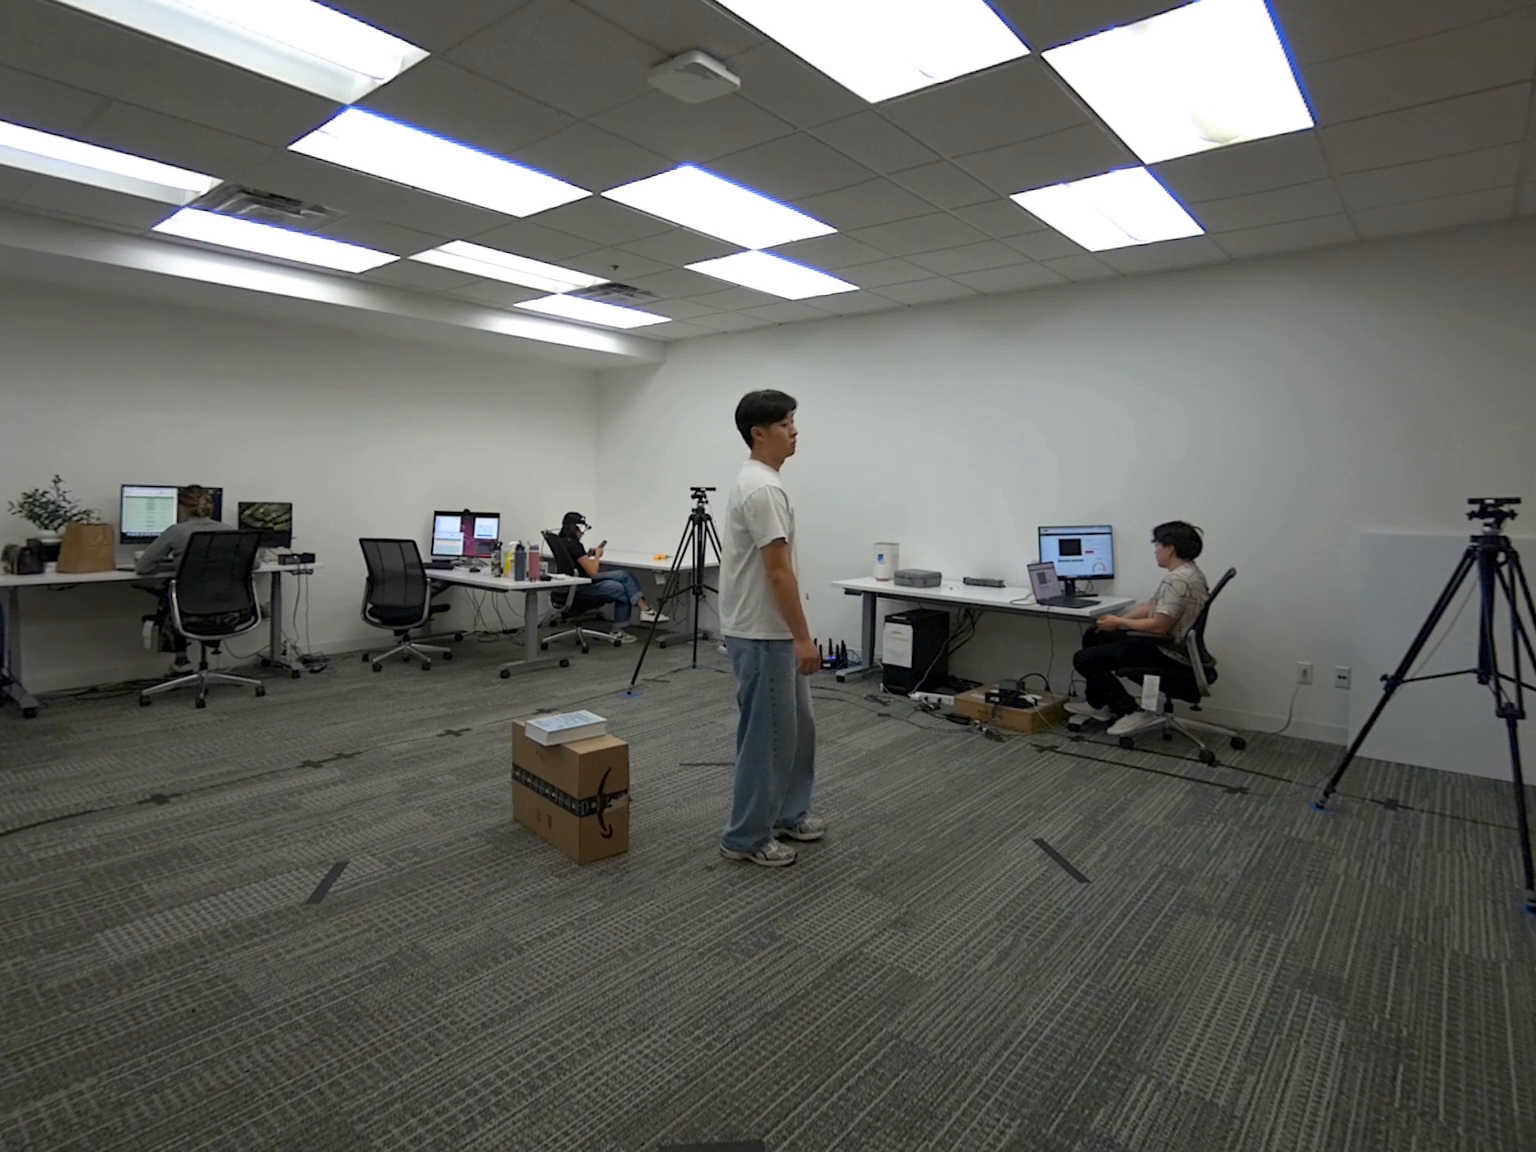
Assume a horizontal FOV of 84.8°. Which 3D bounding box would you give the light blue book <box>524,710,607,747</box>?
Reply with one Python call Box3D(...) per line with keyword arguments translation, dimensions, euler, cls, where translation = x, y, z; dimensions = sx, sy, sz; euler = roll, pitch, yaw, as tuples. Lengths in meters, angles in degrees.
Box3D(translation=(-0.807, 0.590, 3.338), dimensions=(0.253, 0.059, 0.198), euler=(-5, 8, -40), cls="light blue book")
